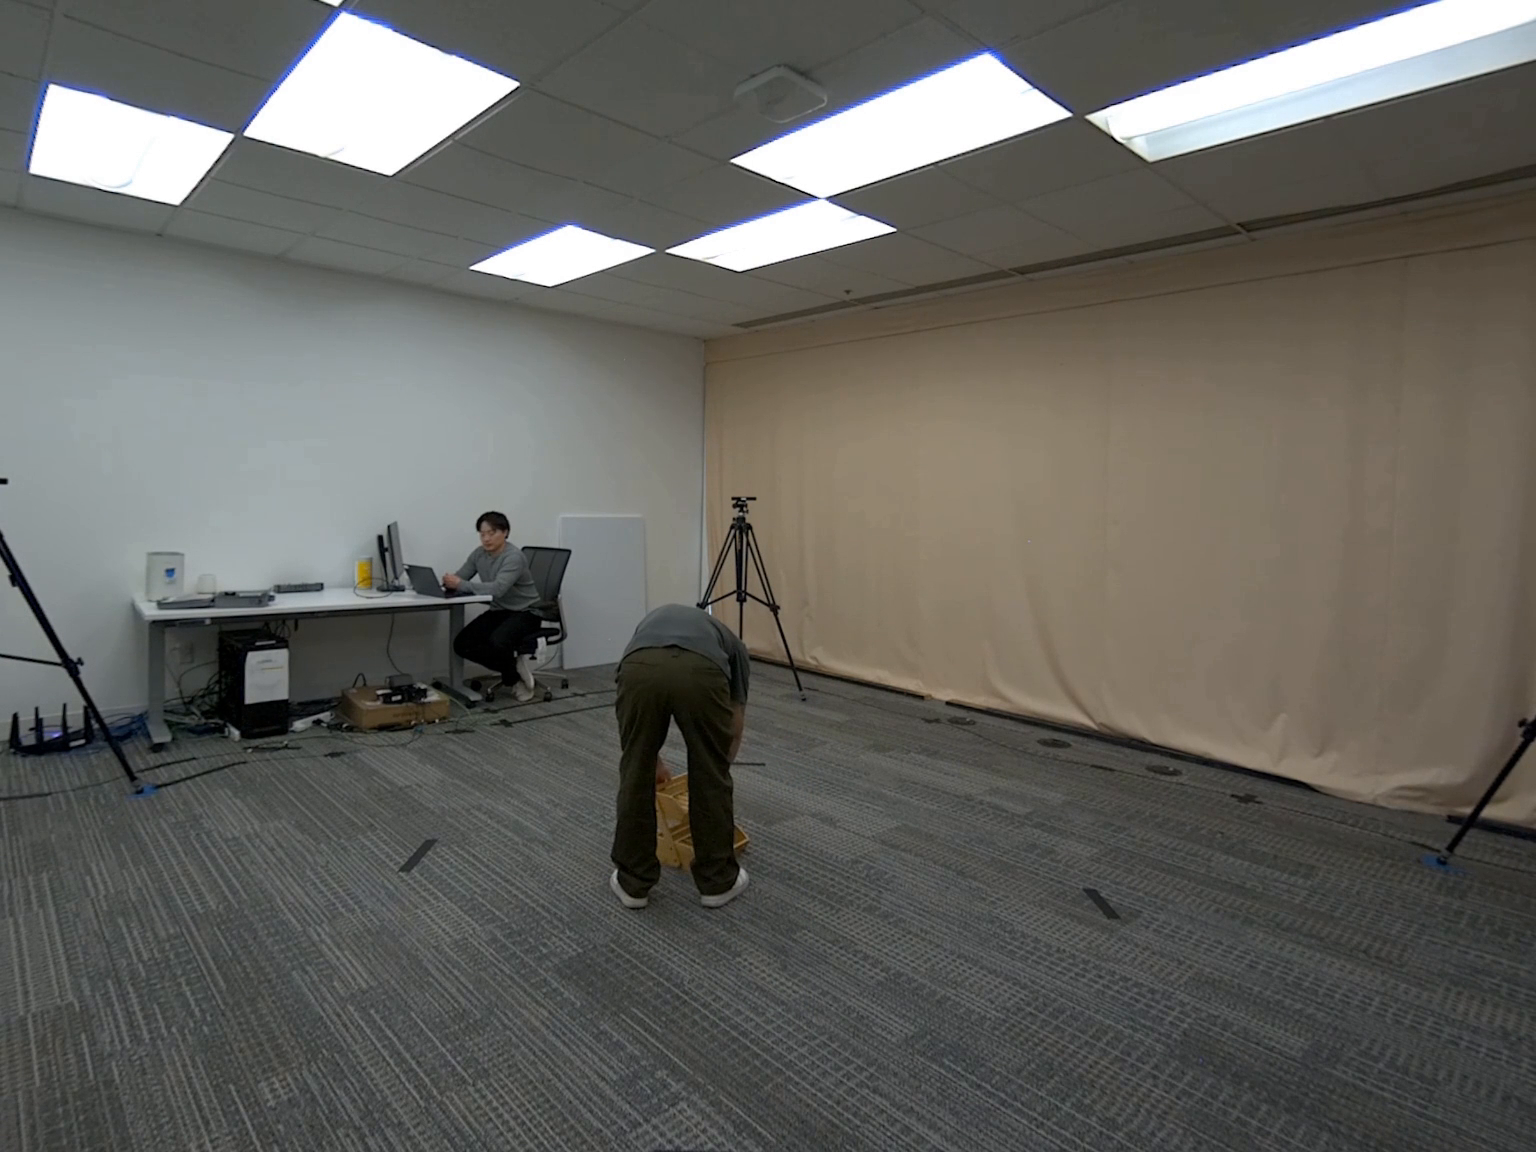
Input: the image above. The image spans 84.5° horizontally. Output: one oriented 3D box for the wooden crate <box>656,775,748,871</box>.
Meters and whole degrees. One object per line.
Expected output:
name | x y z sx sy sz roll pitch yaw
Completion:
wooden crate | -0.280 0.954 3.292 0.309 0.272 0.318 5 5 34
